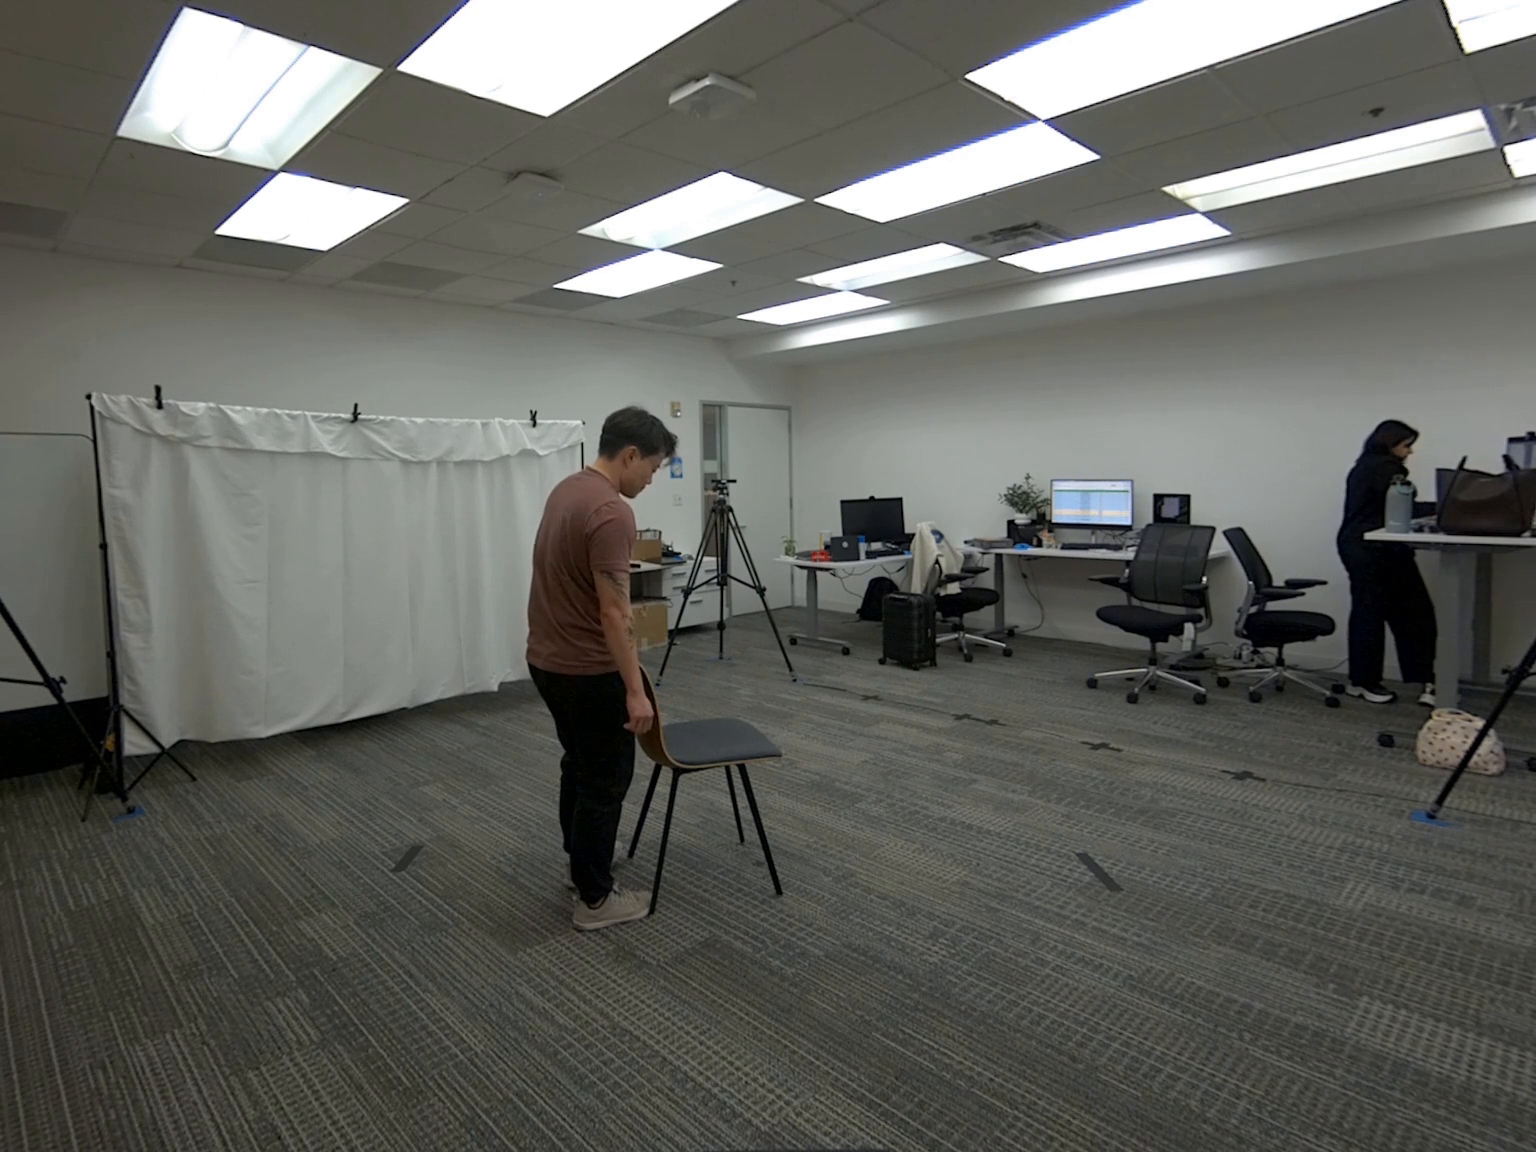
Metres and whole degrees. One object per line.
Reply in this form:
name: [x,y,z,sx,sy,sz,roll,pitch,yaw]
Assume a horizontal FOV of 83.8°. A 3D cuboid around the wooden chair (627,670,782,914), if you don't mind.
wooden chair: [-0.235,0.637,2.999,0.516,0.873,0.487,-7,5,-17]
